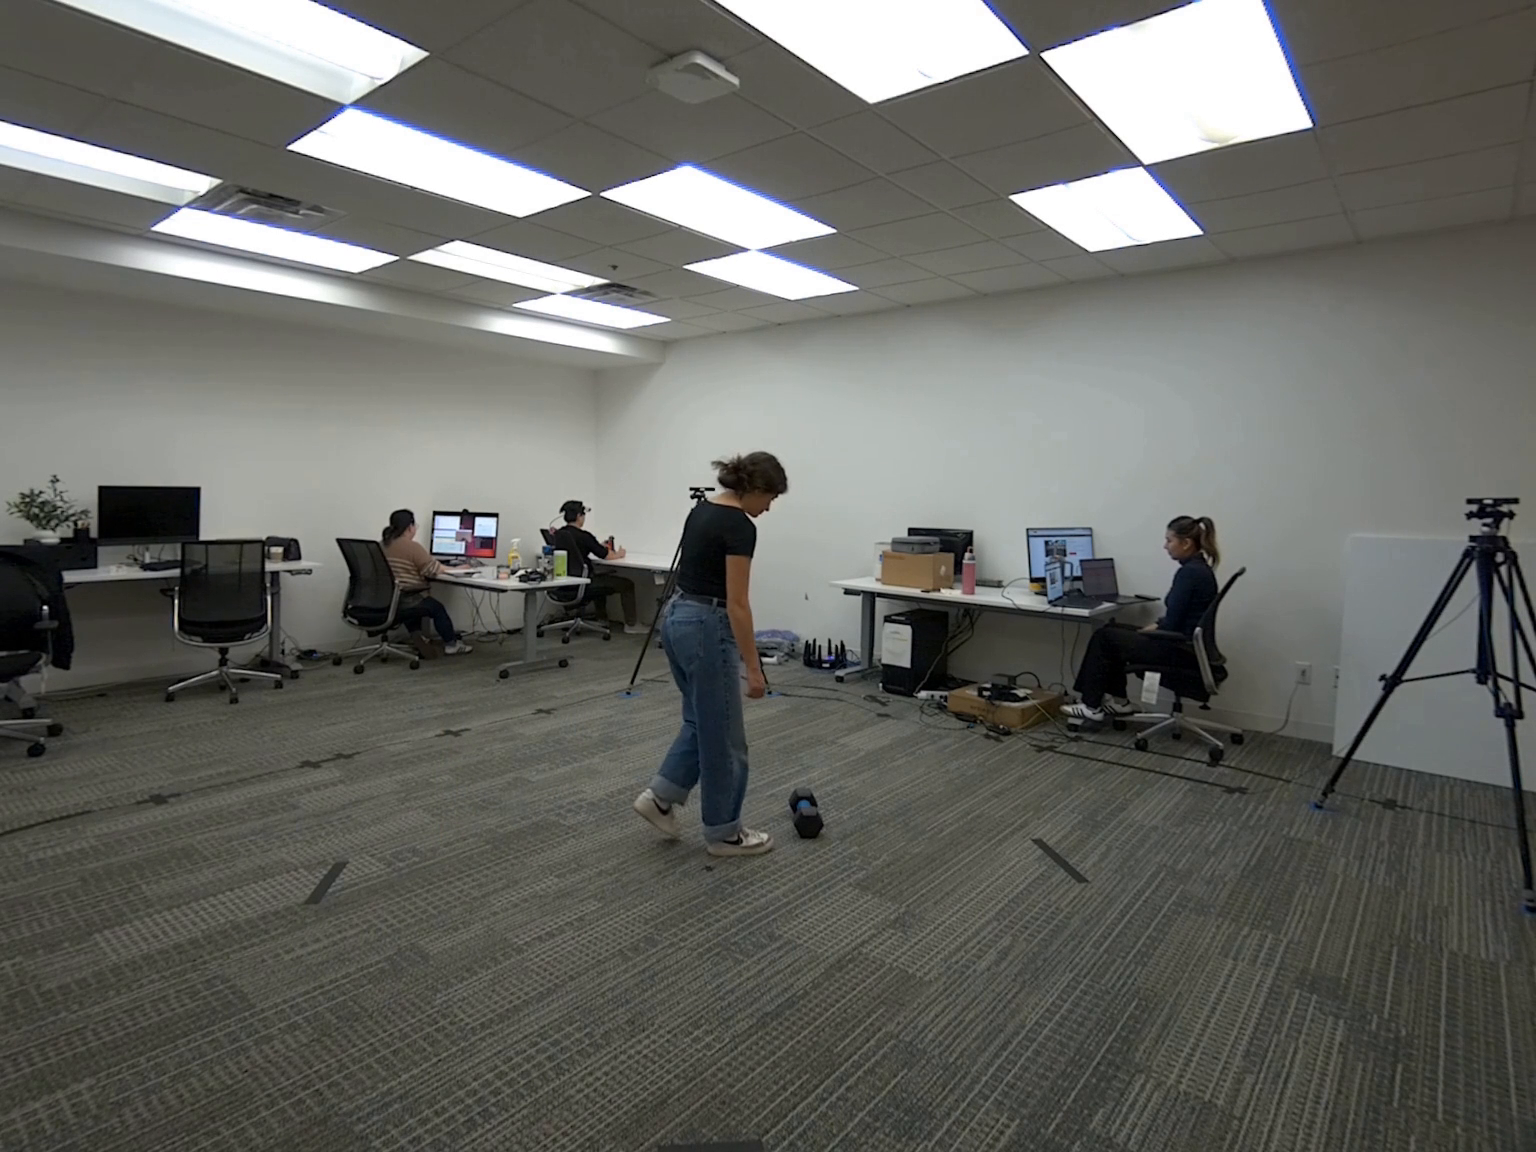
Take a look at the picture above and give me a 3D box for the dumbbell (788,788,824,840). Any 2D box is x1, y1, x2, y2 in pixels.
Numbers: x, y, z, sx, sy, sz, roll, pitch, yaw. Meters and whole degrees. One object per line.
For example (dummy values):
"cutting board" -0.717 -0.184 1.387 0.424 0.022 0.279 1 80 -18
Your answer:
"dumbbell" 0.148 0.981 3.535 0.108 0.123 0.295 29 3 -6
